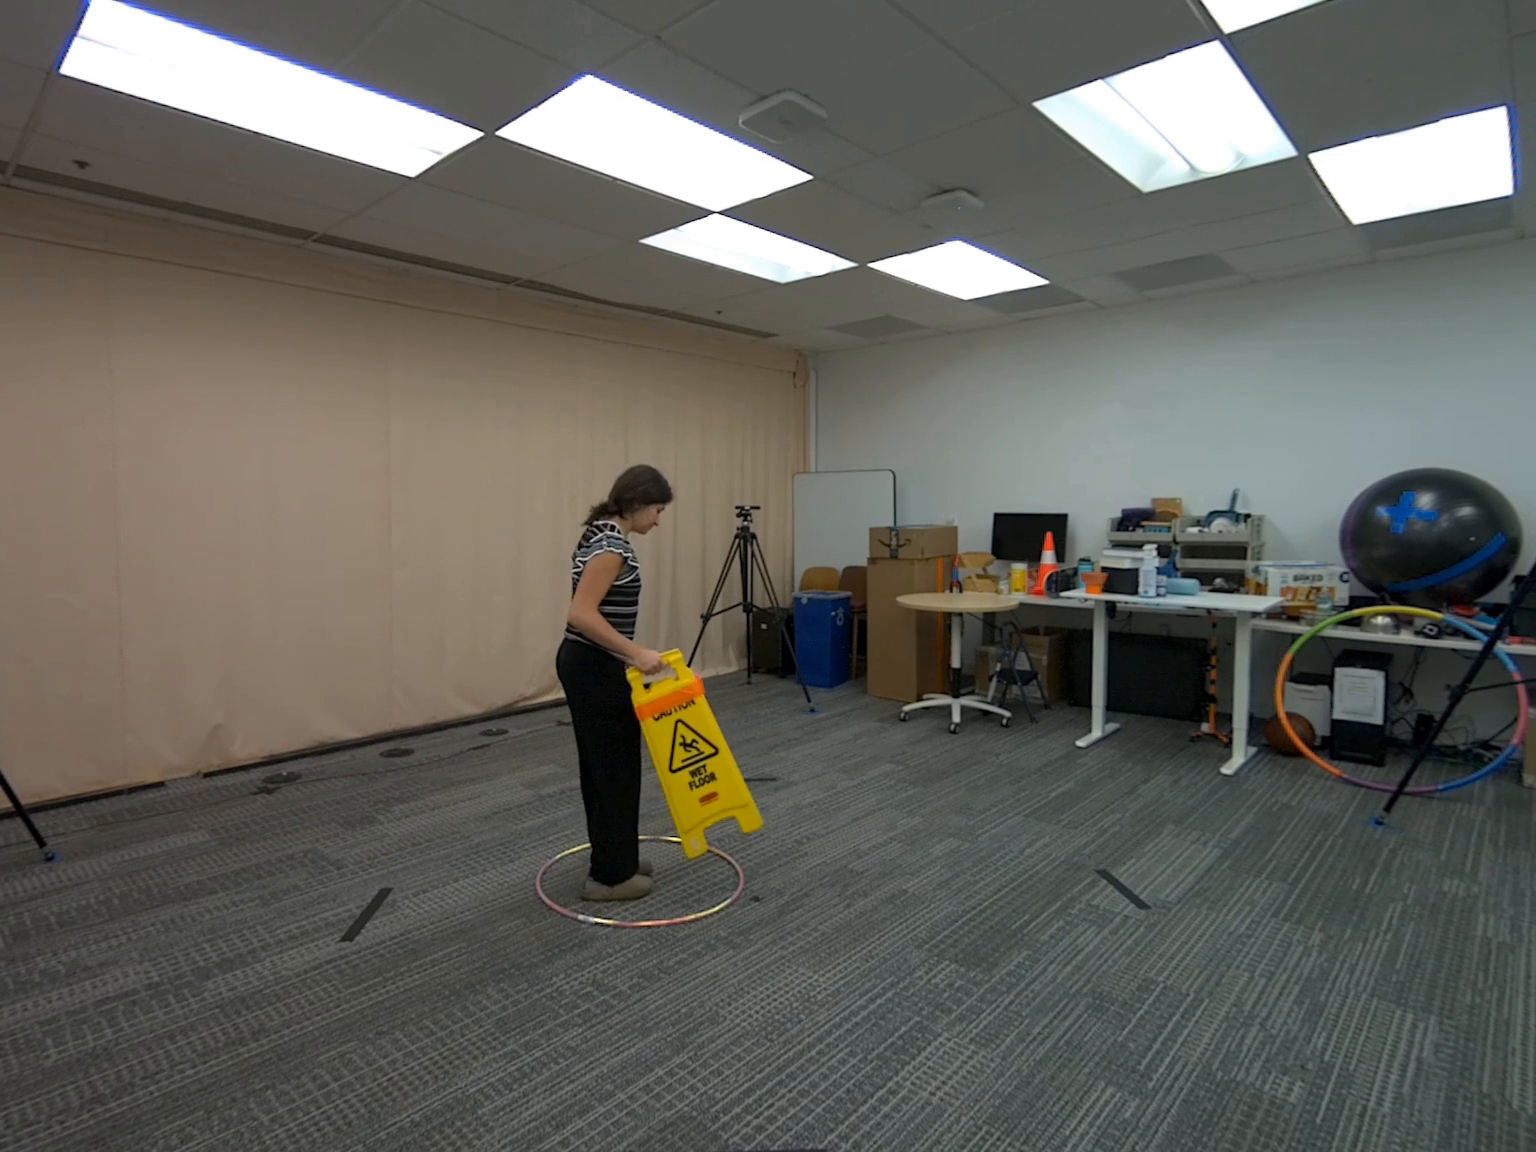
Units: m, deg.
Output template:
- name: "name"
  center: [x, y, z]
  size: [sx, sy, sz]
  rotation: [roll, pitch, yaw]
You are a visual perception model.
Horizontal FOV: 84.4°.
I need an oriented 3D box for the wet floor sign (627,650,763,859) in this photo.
- name: "wet floor sign"
  center: [-0.294, 0.579, 2.877]
  size: [0.280, 0.640, 0.294]
  rotation: [-20, 9, -9]
